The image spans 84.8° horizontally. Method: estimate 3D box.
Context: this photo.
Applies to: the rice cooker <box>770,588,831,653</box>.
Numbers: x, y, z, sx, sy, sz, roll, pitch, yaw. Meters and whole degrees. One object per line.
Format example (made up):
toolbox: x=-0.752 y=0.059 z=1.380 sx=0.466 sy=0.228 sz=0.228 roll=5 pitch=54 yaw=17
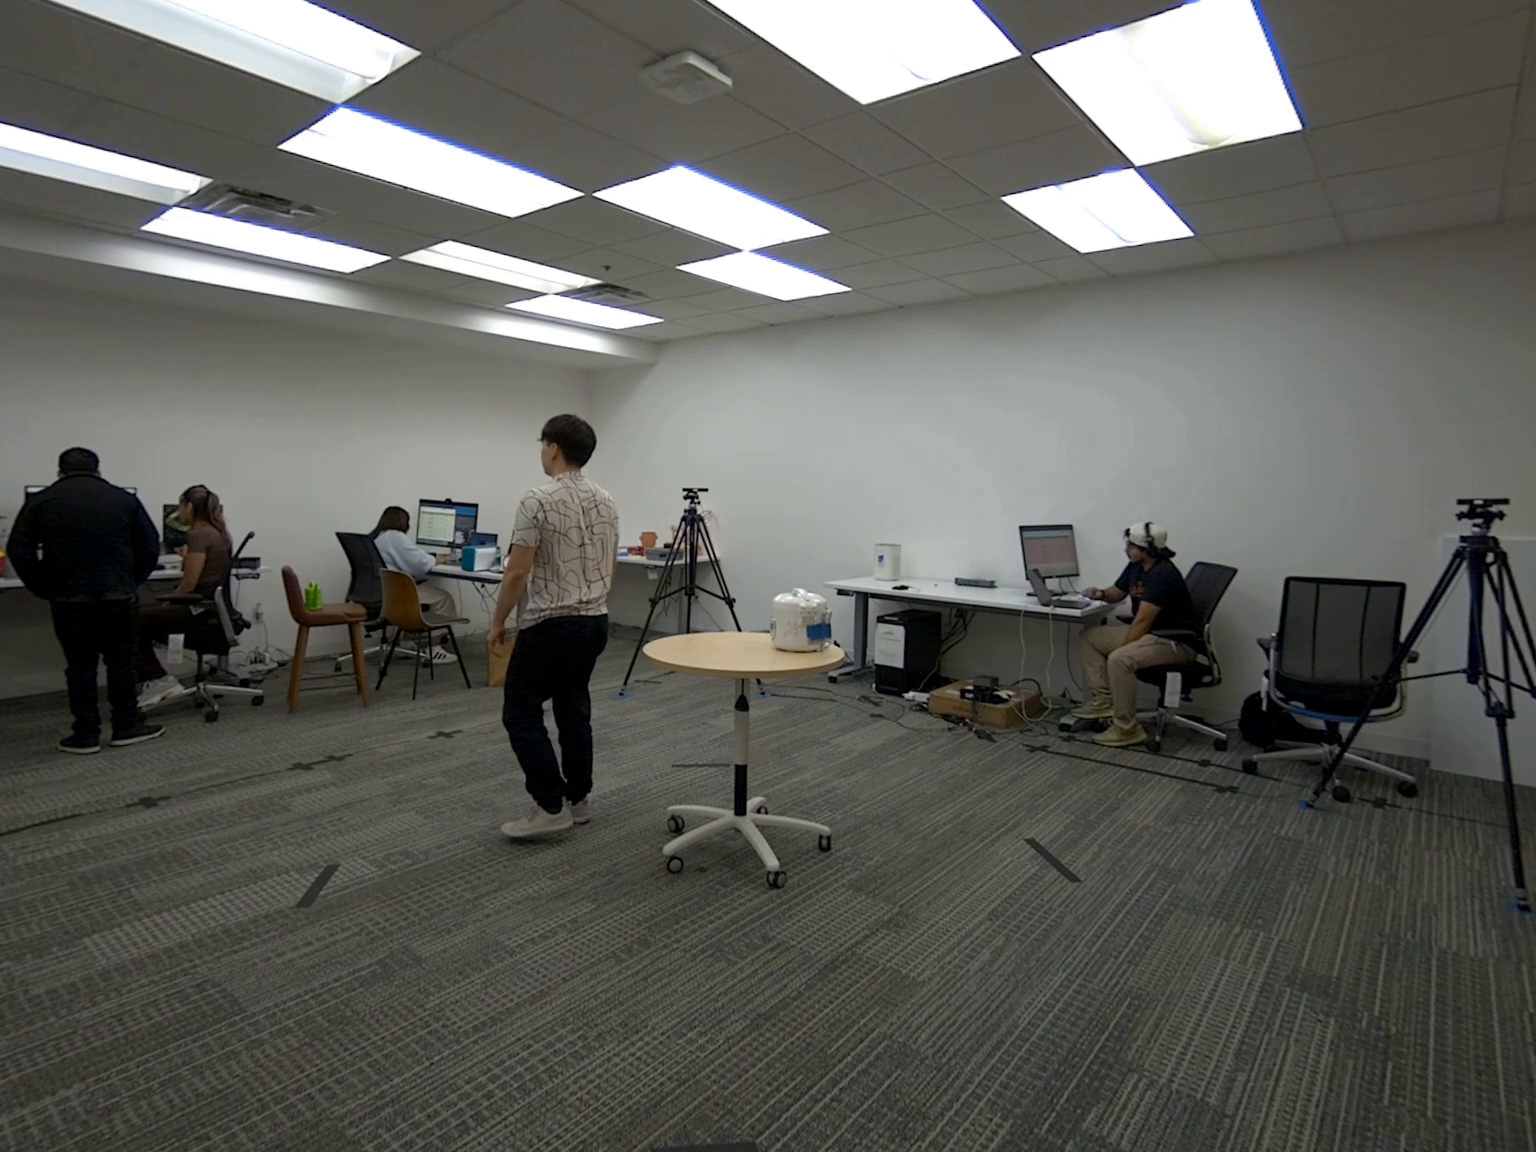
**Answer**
rice cooker: x=0.110 y=0.161 z=3.276 sx=0.214 sy=0.232 sz=0.224 roll=1 pitch=4 yaw=-14
